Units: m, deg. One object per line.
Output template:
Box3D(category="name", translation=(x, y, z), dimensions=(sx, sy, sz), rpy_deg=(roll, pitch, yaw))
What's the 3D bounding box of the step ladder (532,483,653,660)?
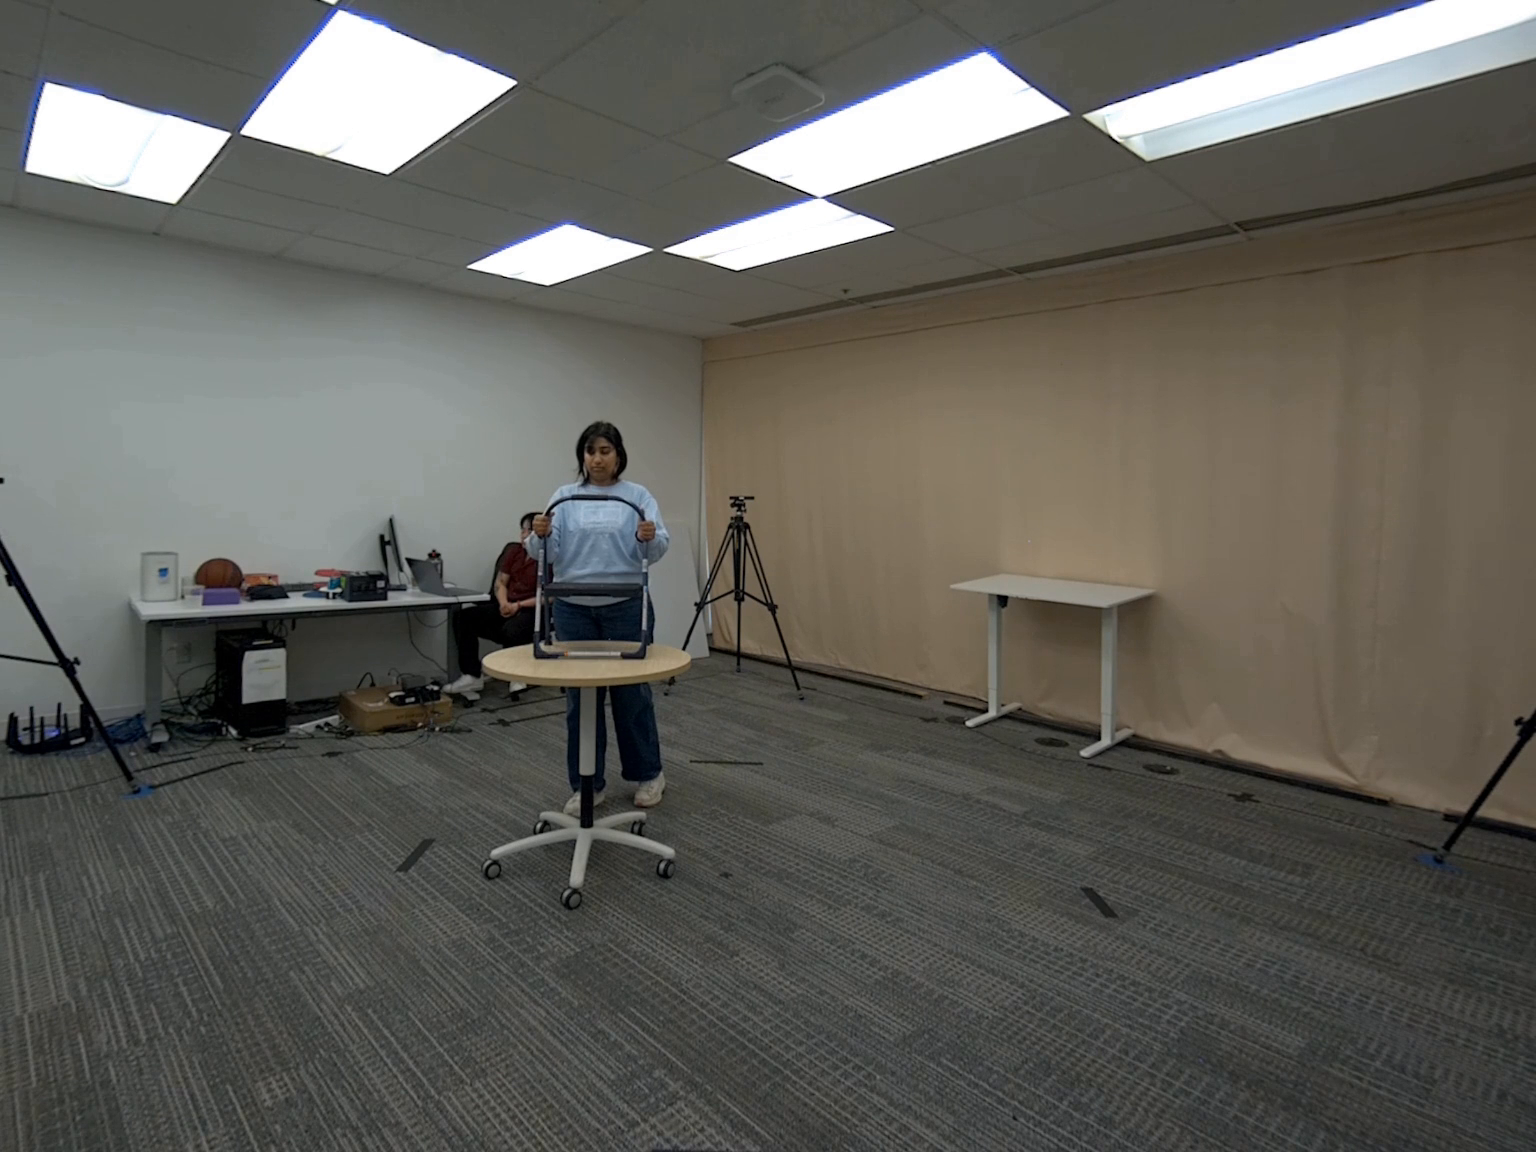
Box3D(category="step ladder", translation=(-0.685, -0.015, 3.262), dimensions=(0.429, 0.605, 0.351), rpy_deg=(1, 3, -6))
